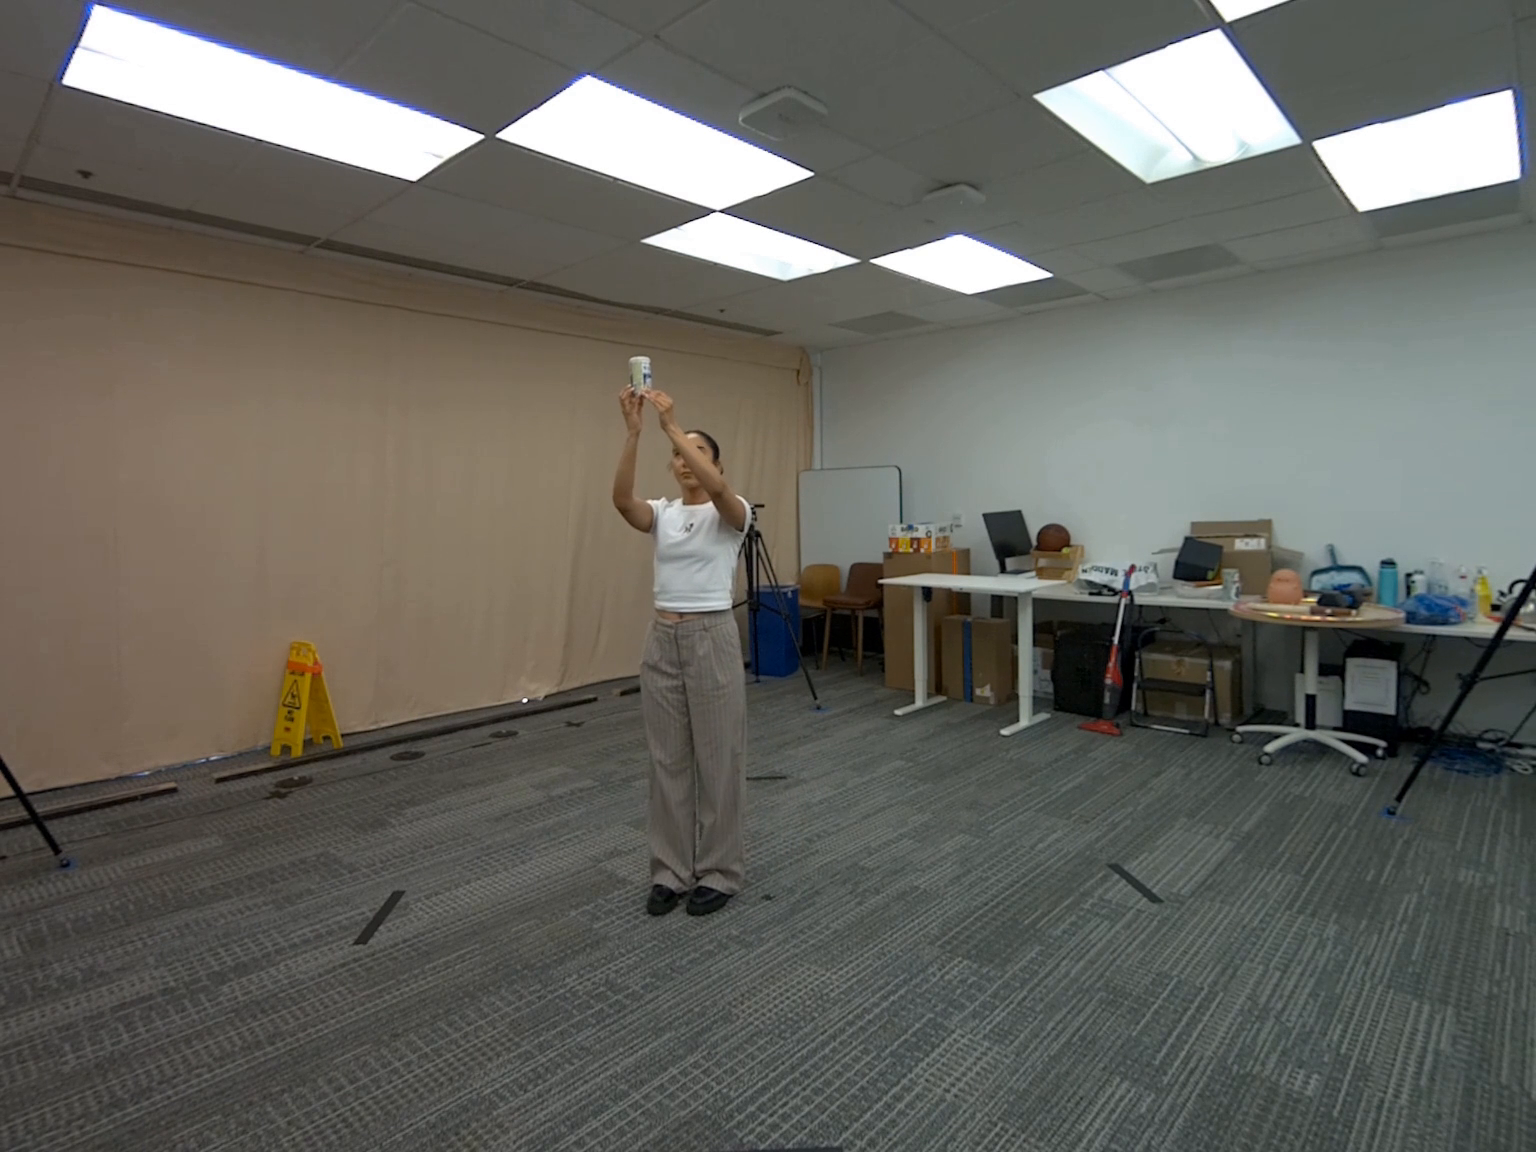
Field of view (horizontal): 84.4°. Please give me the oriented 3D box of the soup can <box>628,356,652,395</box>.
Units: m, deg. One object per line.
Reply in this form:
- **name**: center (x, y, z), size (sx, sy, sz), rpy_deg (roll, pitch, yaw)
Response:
- **soup can**: center (-0.389, -0.626, 2.650), size (0.067, 0.121, 0.067), rpy_deg (-2, 0, -2)
